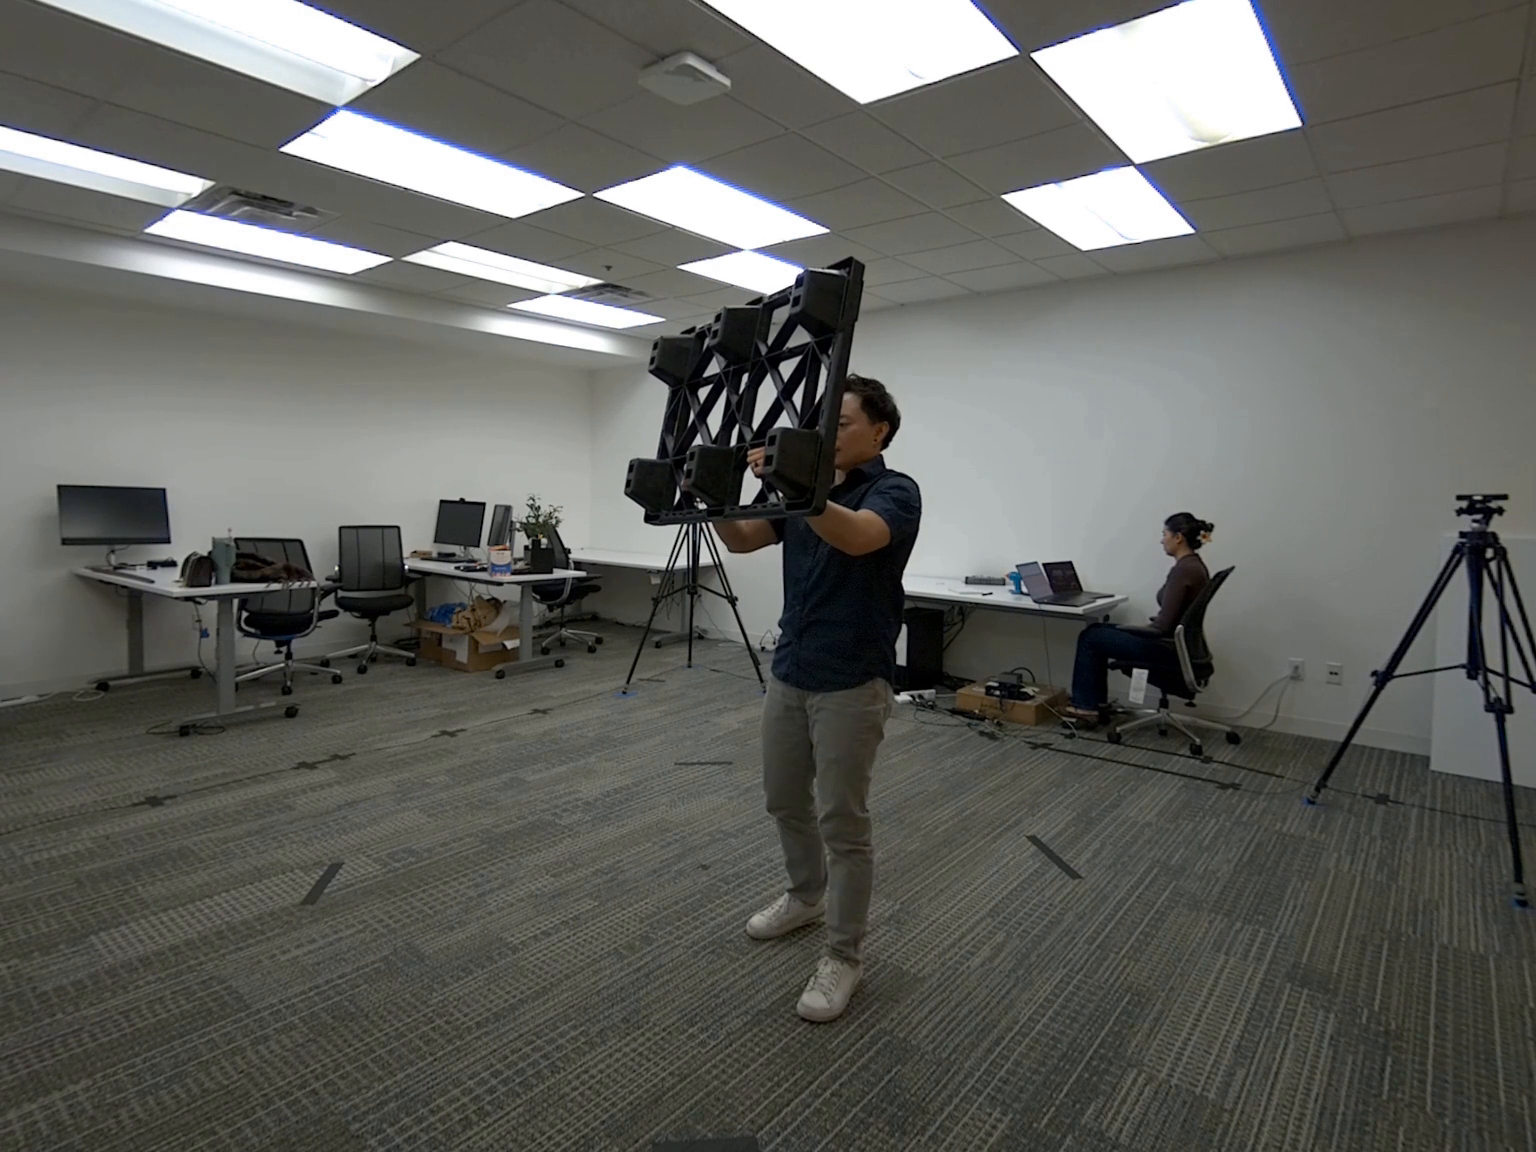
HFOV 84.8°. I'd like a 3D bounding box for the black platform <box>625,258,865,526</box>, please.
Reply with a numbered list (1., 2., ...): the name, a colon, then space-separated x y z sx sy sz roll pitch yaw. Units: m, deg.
1. black platform: -0.113 -0.447 2.196 0.138 0.608 0.829 14 -8 -34
